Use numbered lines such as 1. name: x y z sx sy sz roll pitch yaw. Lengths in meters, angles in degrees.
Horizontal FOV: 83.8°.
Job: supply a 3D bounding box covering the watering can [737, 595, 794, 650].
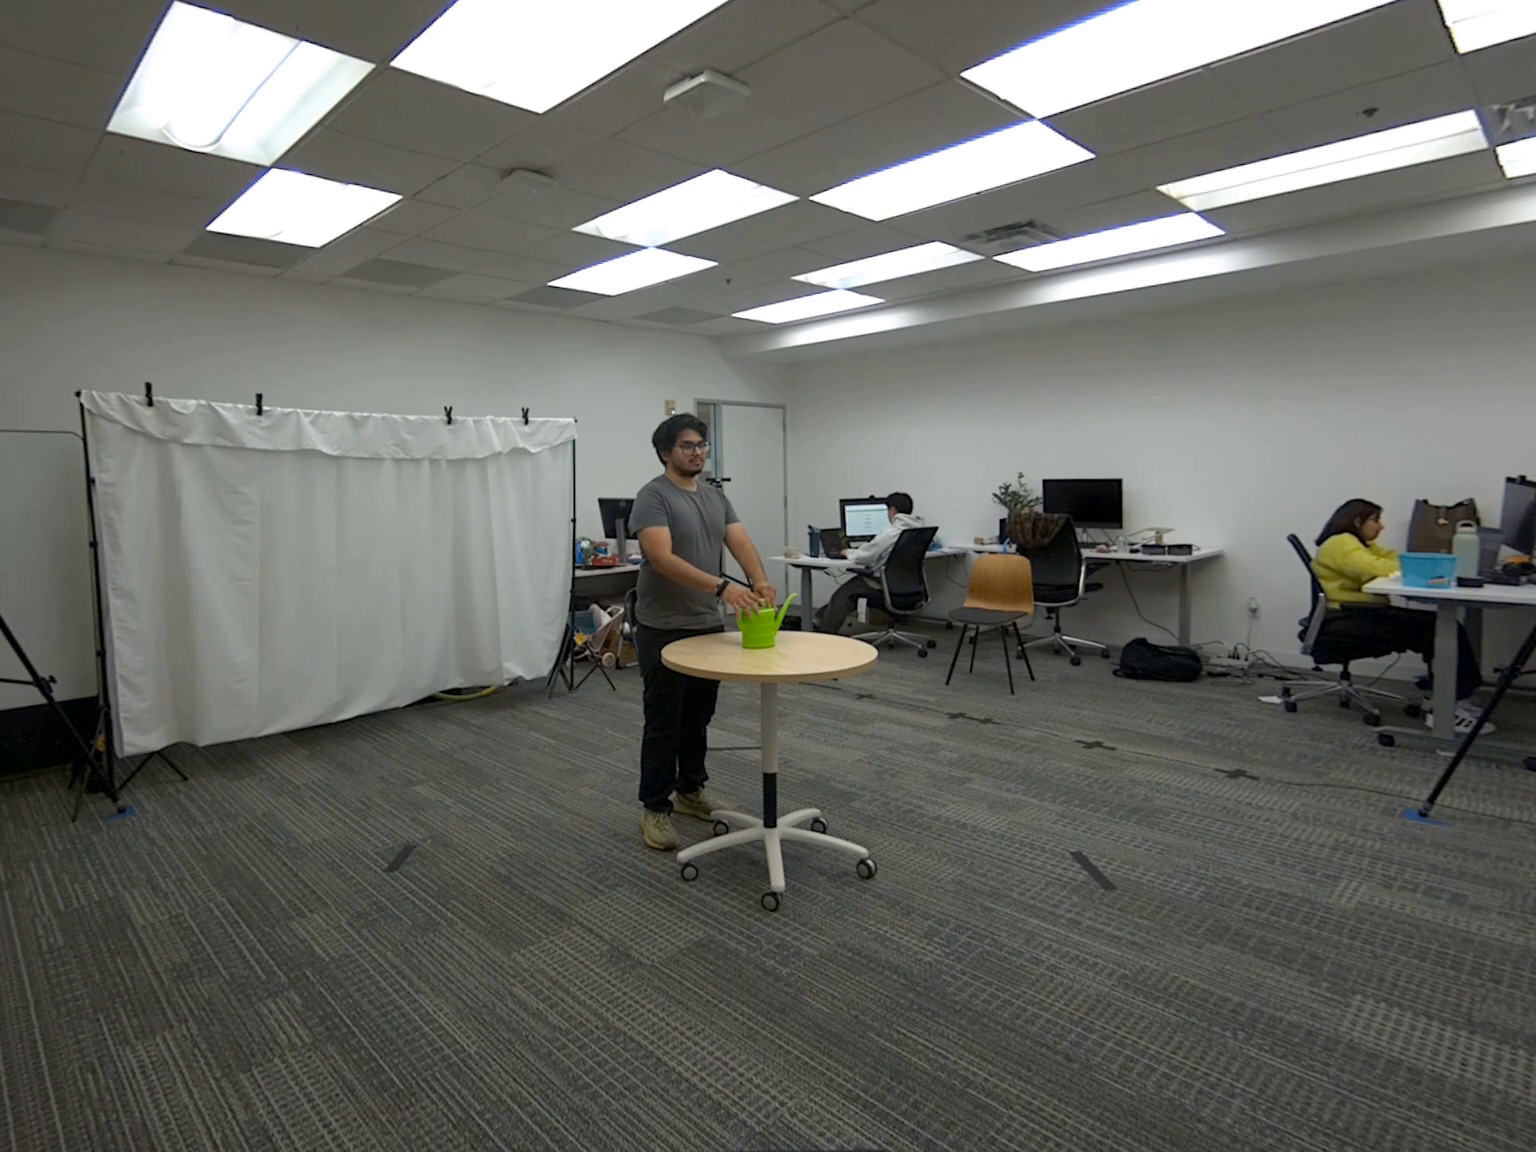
1. watering can: 0.003 0.166 3.132 0.273 0.176 0.100 -6 5 -24
